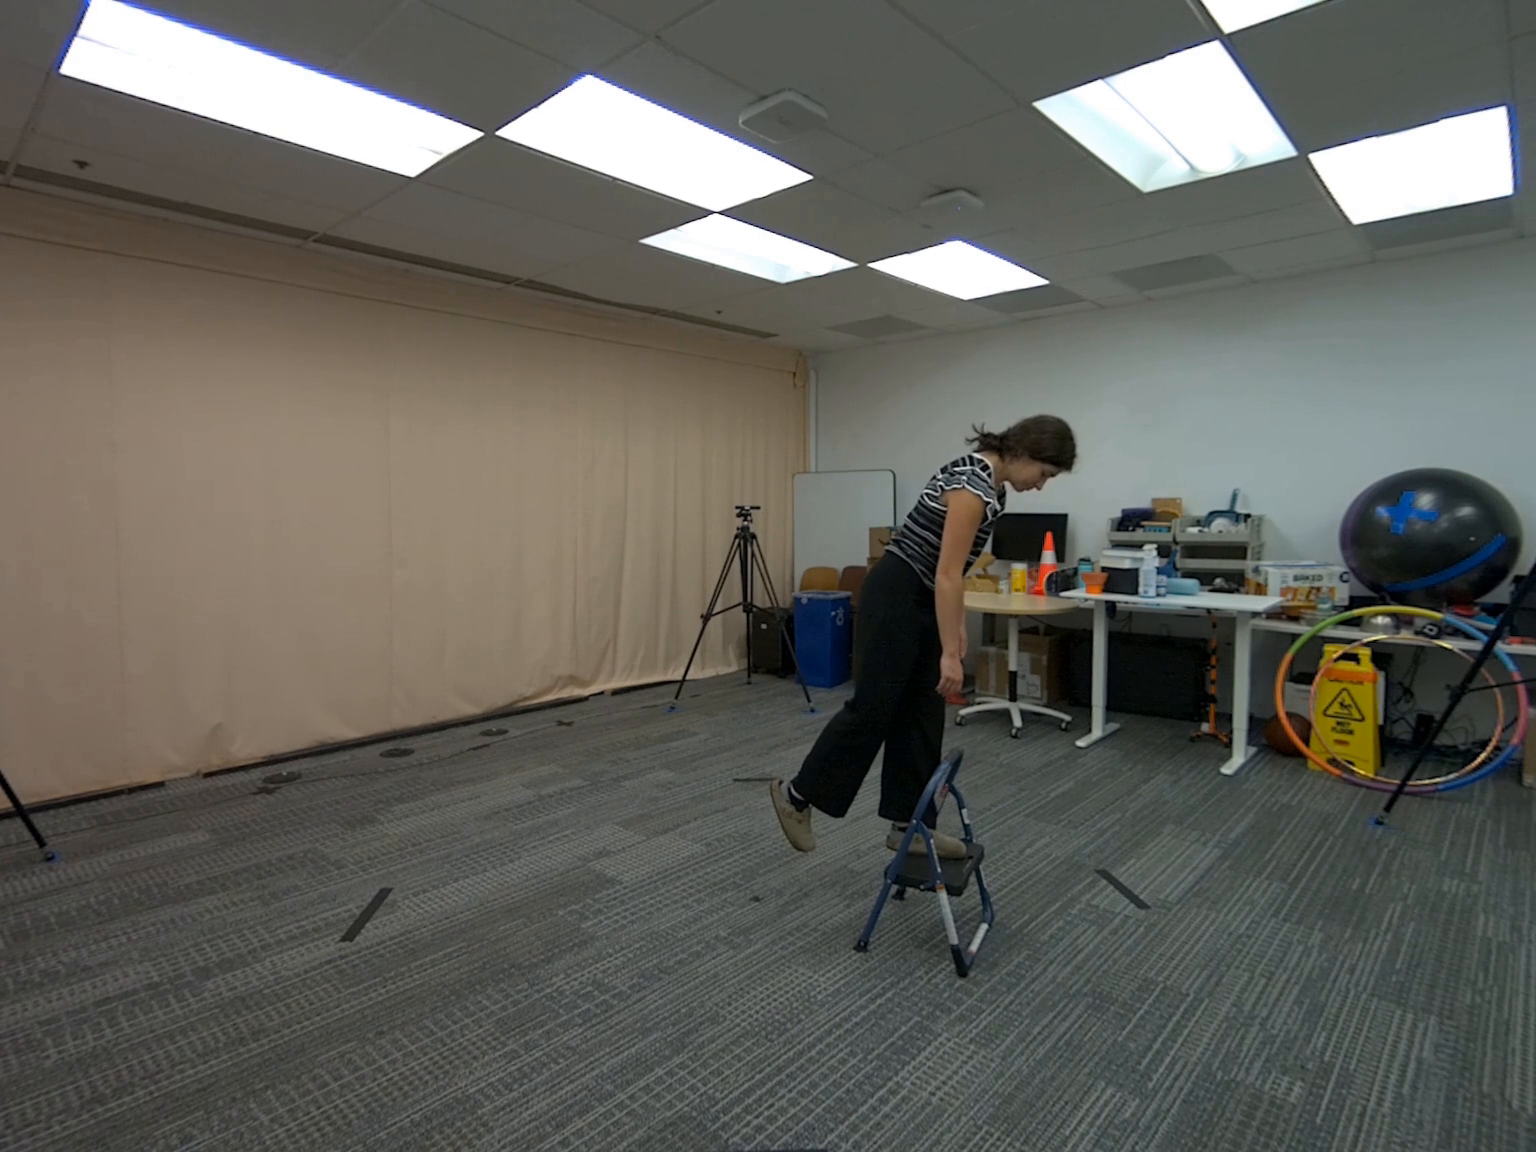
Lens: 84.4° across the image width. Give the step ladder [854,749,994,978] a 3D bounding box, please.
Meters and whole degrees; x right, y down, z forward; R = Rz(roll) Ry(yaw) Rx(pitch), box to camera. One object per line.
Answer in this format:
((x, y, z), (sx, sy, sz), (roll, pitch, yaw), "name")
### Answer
((0.521, 0.864, 2.719), (0.359, 0.604, 0.420), (1, 4, 27), "step ladder")
